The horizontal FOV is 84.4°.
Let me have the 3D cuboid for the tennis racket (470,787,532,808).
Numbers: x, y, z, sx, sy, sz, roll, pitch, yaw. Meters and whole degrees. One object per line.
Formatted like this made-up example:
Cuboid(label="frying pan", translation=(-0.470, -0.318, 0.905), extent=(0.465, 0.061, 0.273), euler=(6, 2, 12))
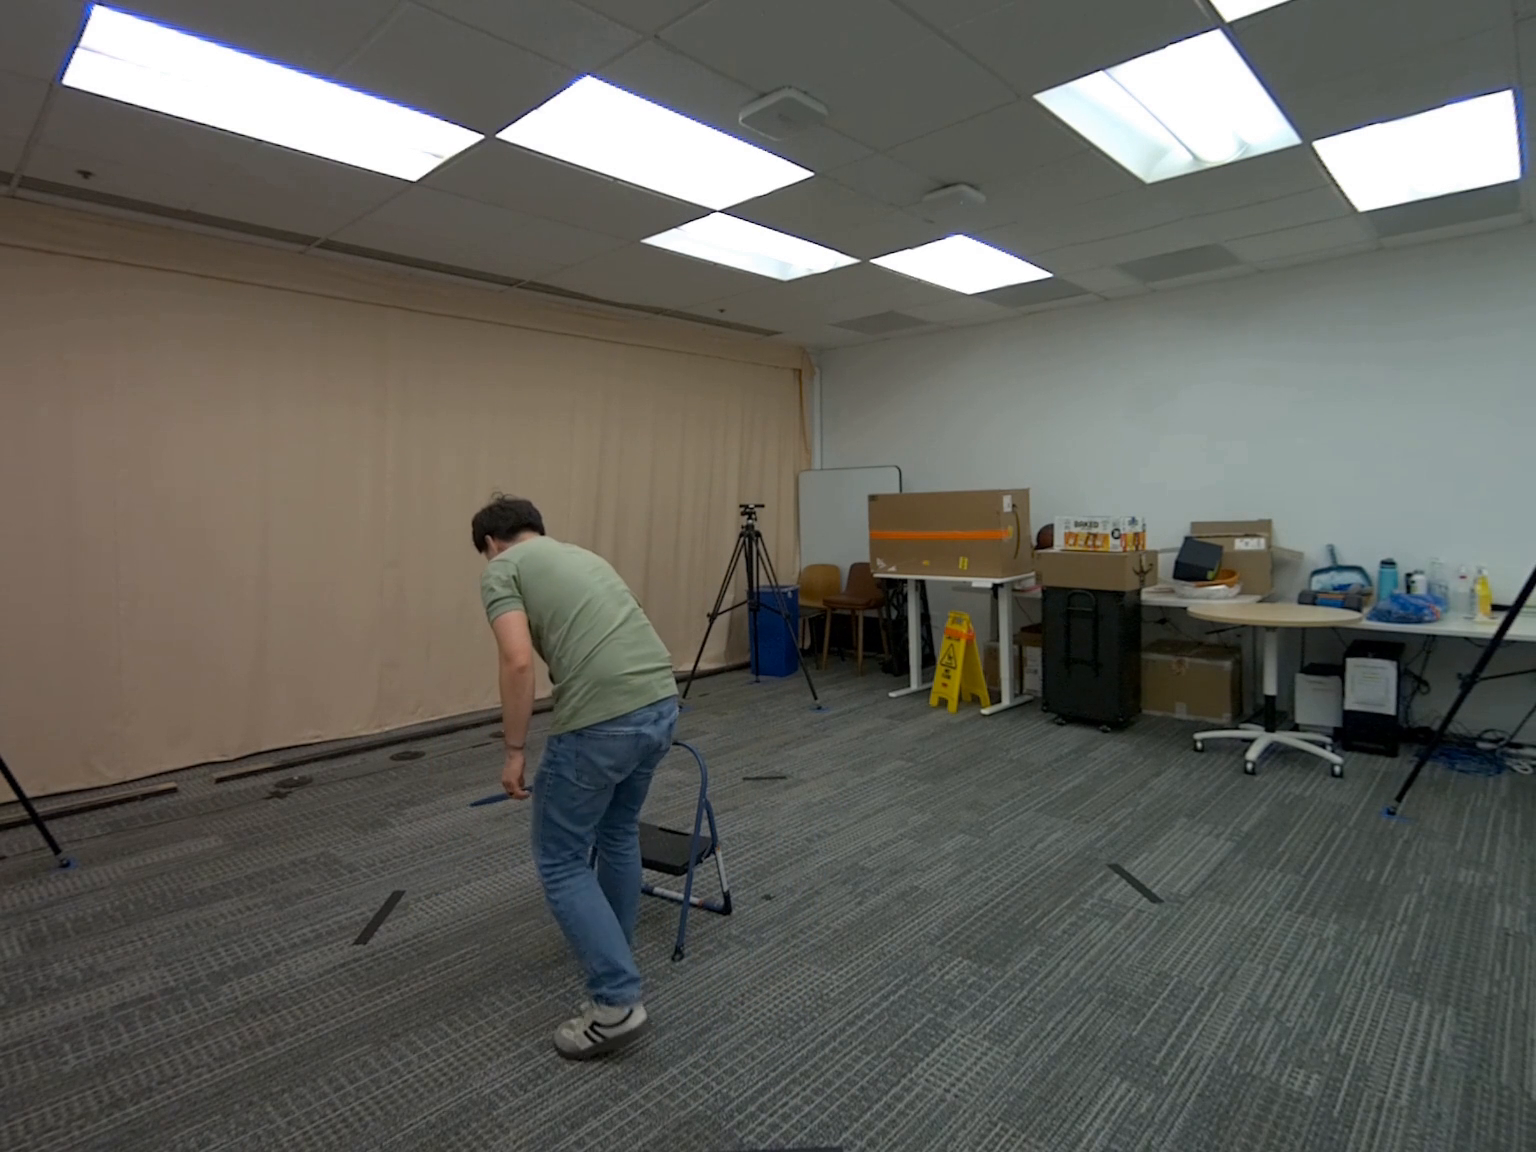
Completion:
Cuboid(label="tennis racket", translation=(-0.735, 0.670, 2.623), extent=(0.440, 0.032, 0.208), euler=(-18, -14, 21))
